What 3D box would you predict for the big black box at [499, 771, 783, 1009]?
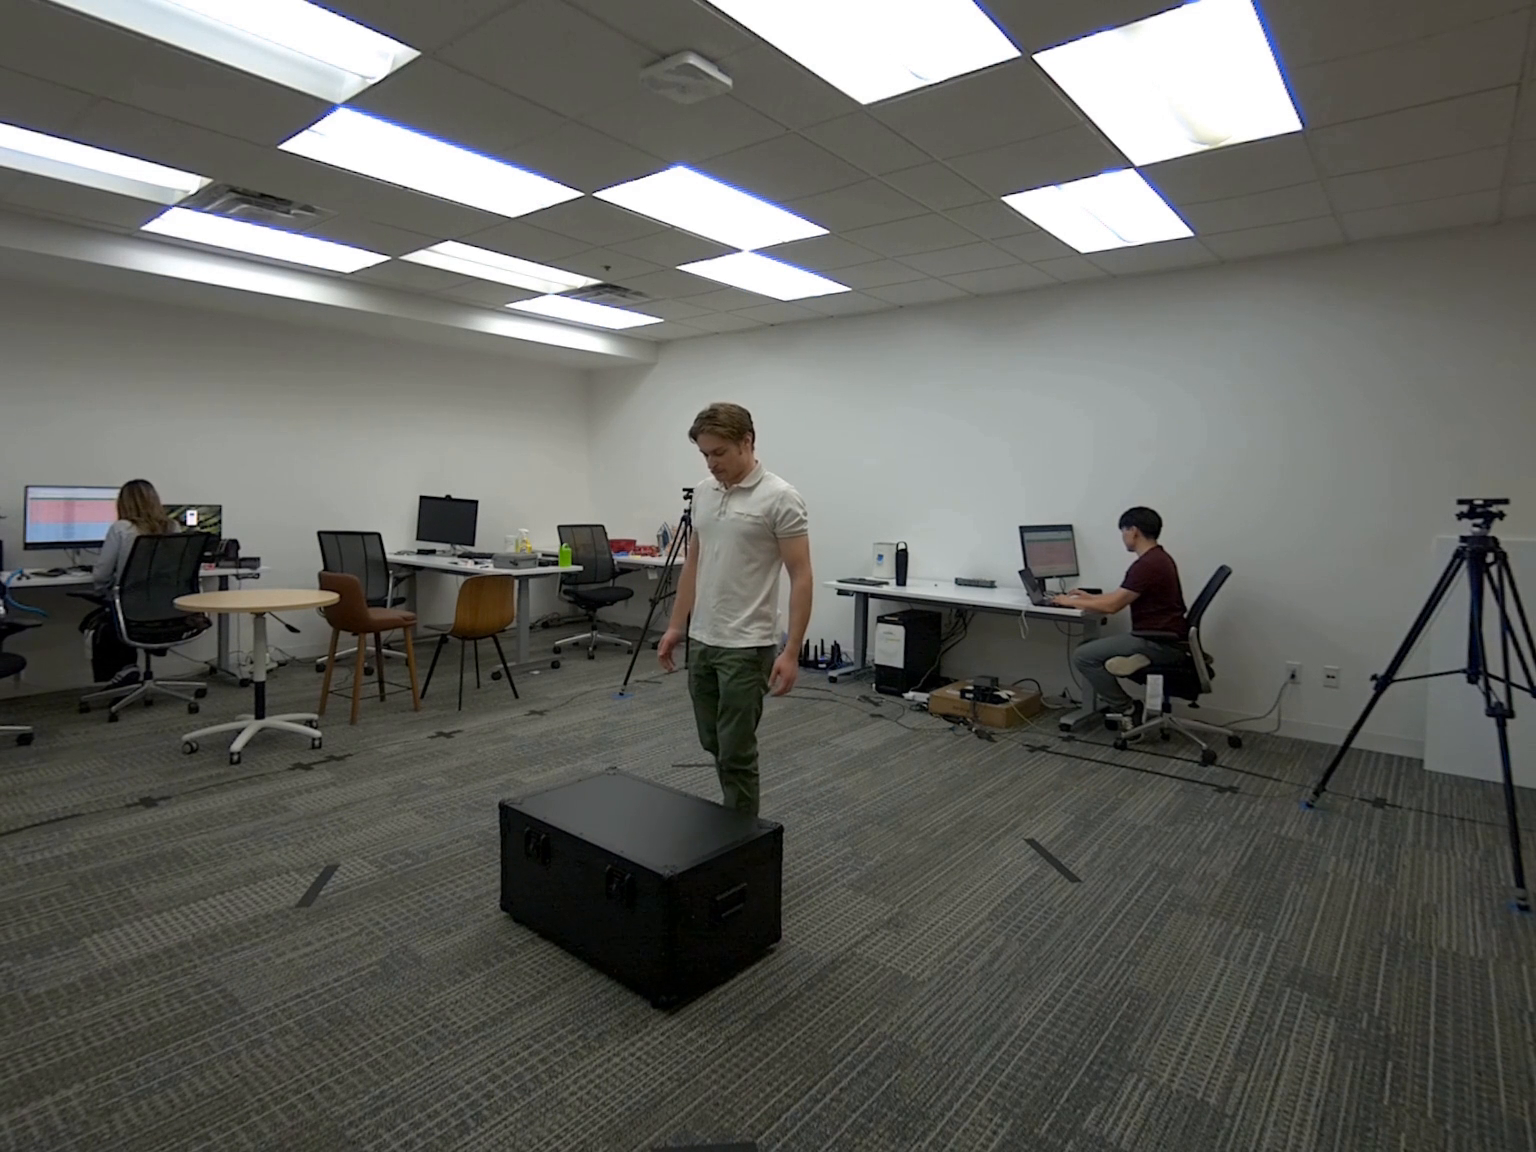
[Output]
[{"bbox_3d":[-0.441,0.916,2.671,0.891,0.395,0.506,6,7,40],"label":"big black box"}]
